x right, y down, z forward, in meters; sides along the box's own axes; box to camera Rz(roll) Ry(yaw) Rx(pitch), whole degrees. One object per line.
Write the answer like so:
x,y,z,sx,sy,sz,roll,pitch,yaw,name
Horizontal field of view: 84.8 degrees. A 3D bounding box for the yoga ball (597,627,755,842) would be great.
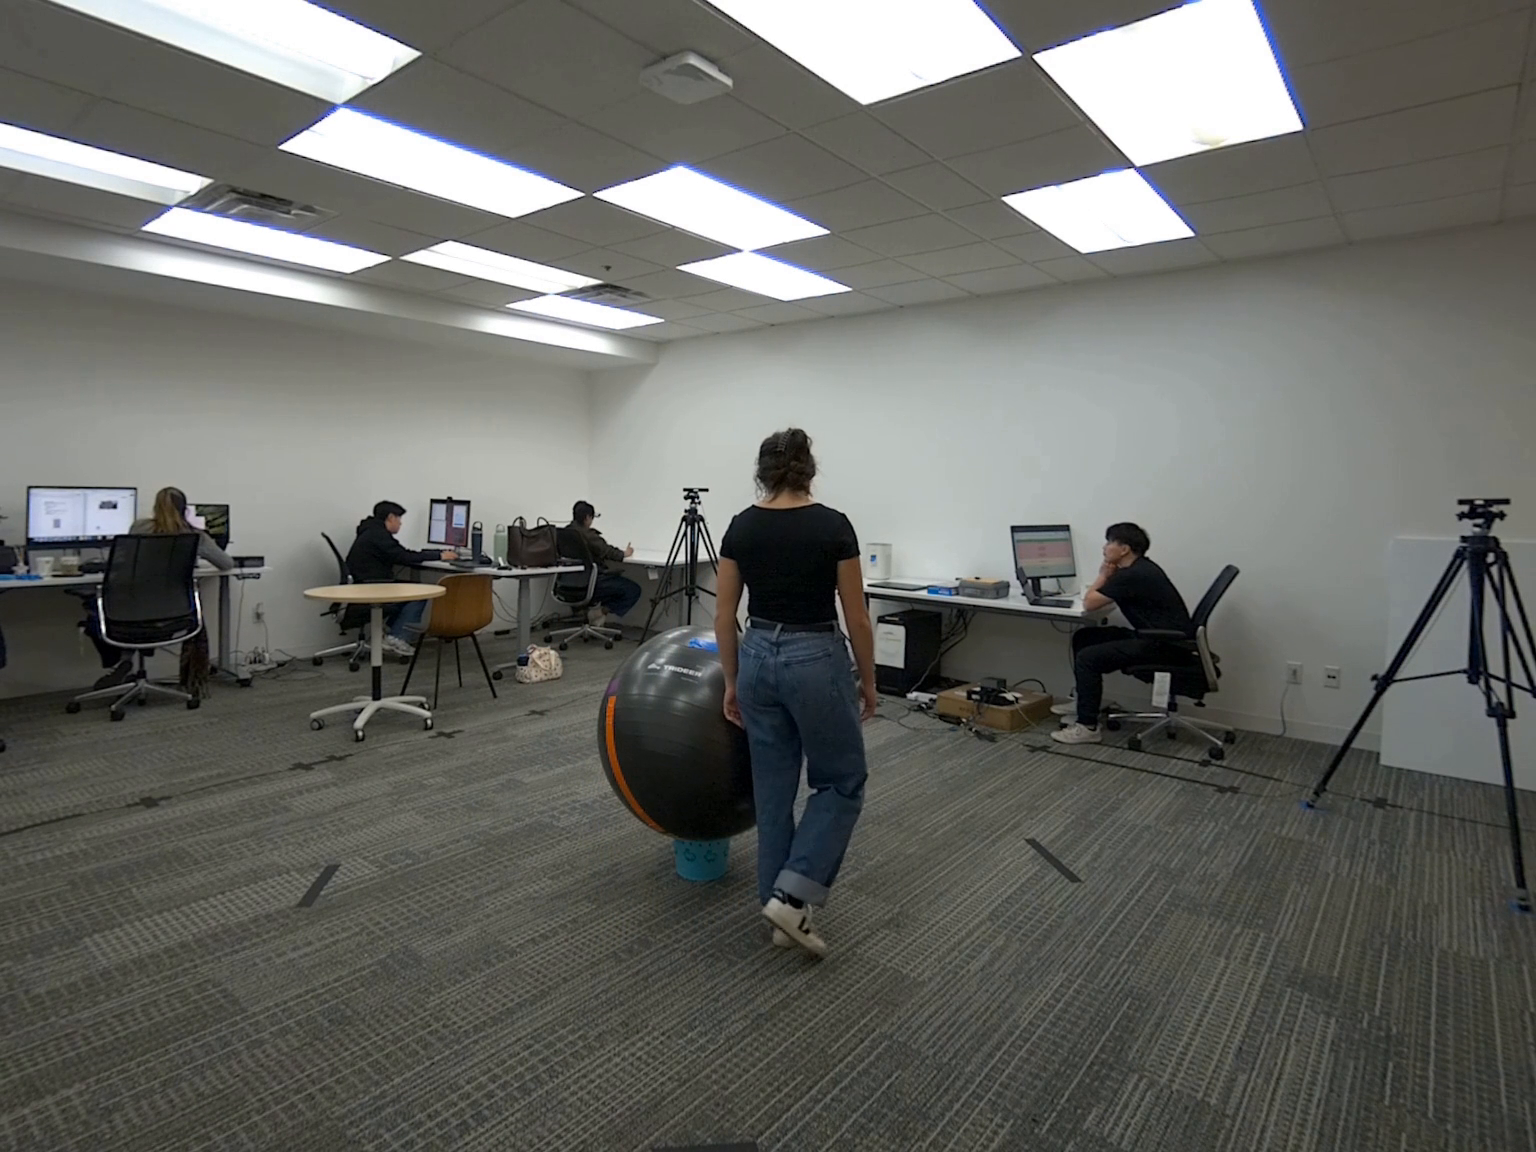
-0.248,0.559,3.088,0.757,0.756,0.762,1,4,-2,yoga ball
